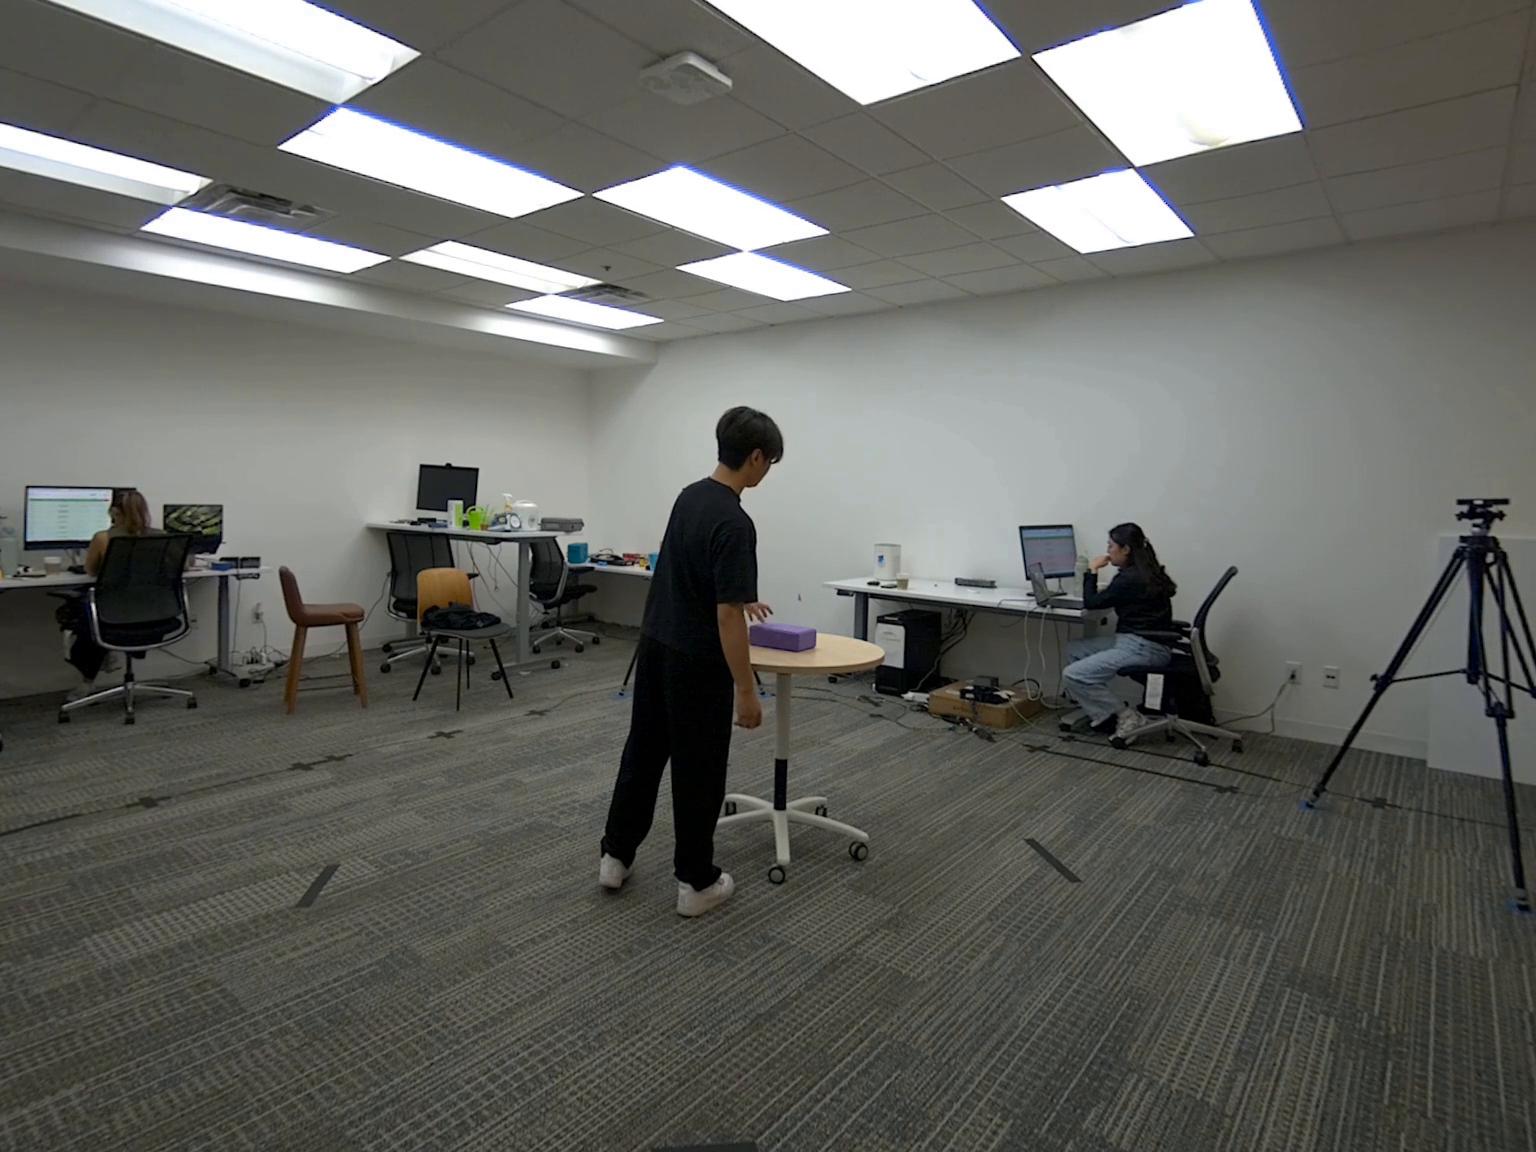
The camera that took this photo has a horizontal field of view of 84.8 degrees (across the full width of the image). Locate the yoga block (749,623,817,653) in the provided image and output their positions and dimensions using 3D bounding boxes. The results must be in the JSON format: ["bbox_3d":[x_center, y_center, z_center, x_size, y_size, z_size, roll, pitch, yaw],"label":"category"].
[{"bbox_3d":[0.046,0.232,3.307,0.237,0.076,0.145,5,5,34],"label":"yoga block"}]
